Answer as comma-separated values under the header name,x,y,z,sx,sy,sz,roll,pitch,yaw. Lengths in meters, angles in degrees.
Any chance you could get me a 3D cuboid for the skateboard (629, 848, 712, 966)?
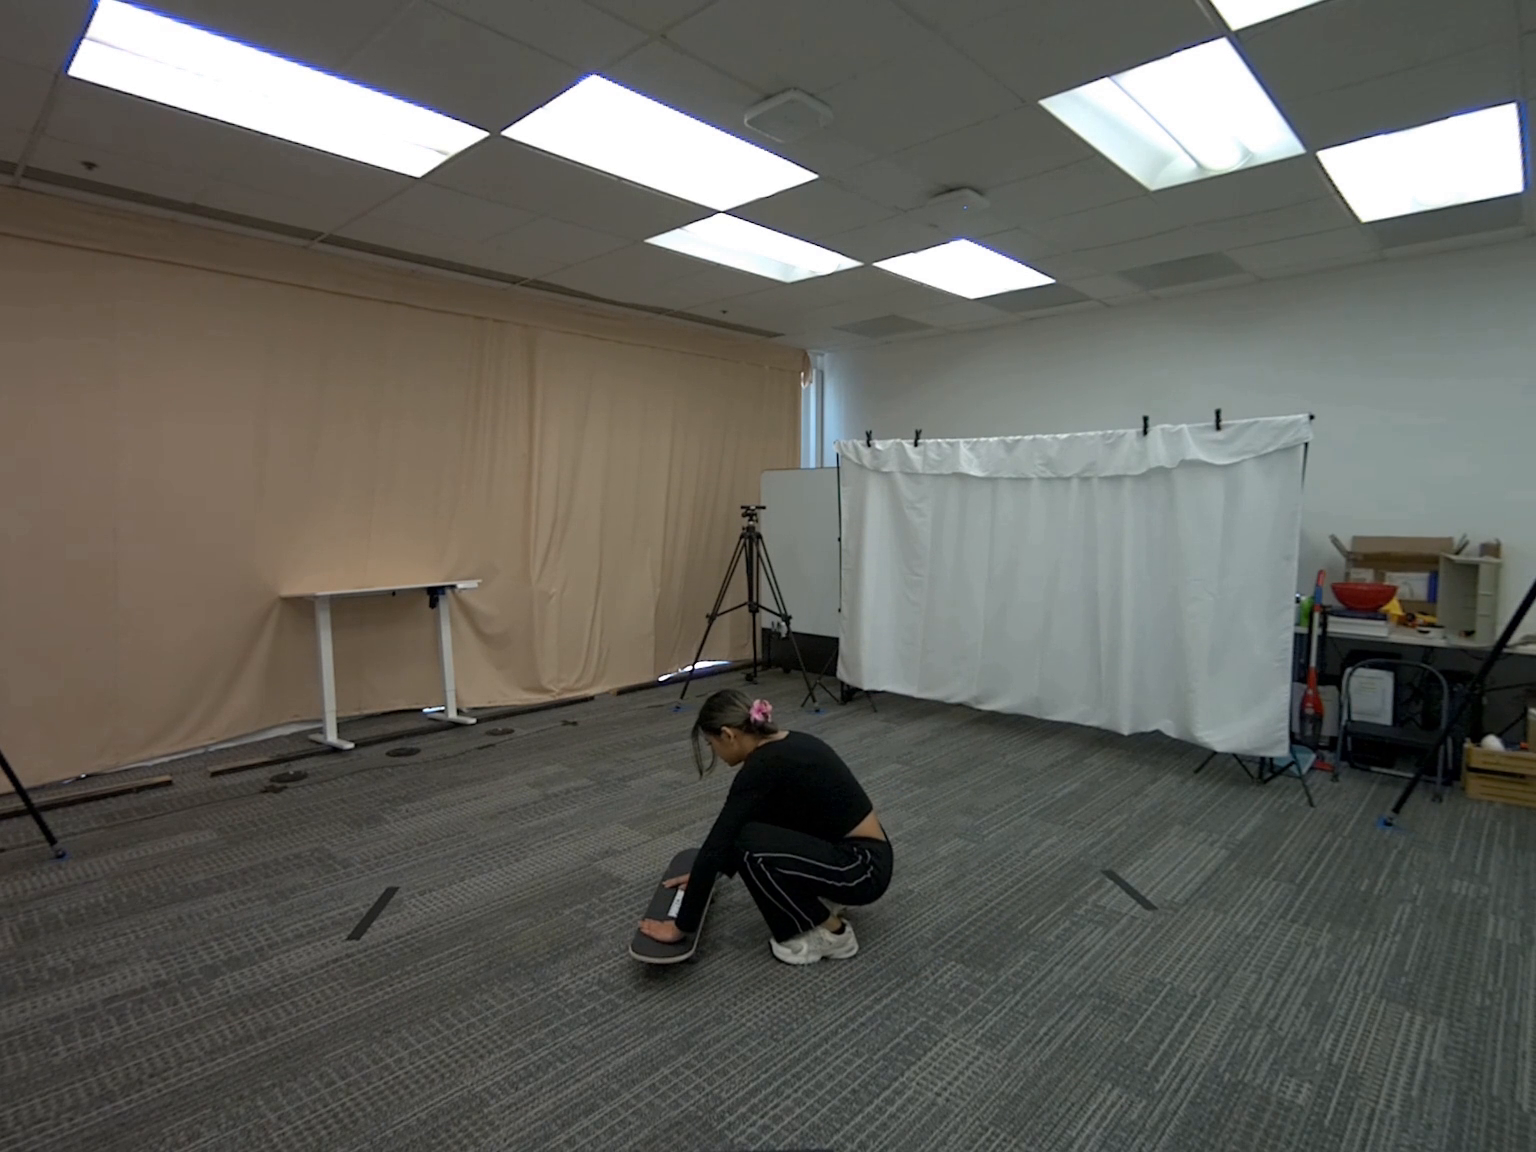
name,x,y,z,sx,sy,sz,roll,pitch,yaw
skateboard,-0.286,1.103,2.783,0.195,0.110,0.782,0,5,5
